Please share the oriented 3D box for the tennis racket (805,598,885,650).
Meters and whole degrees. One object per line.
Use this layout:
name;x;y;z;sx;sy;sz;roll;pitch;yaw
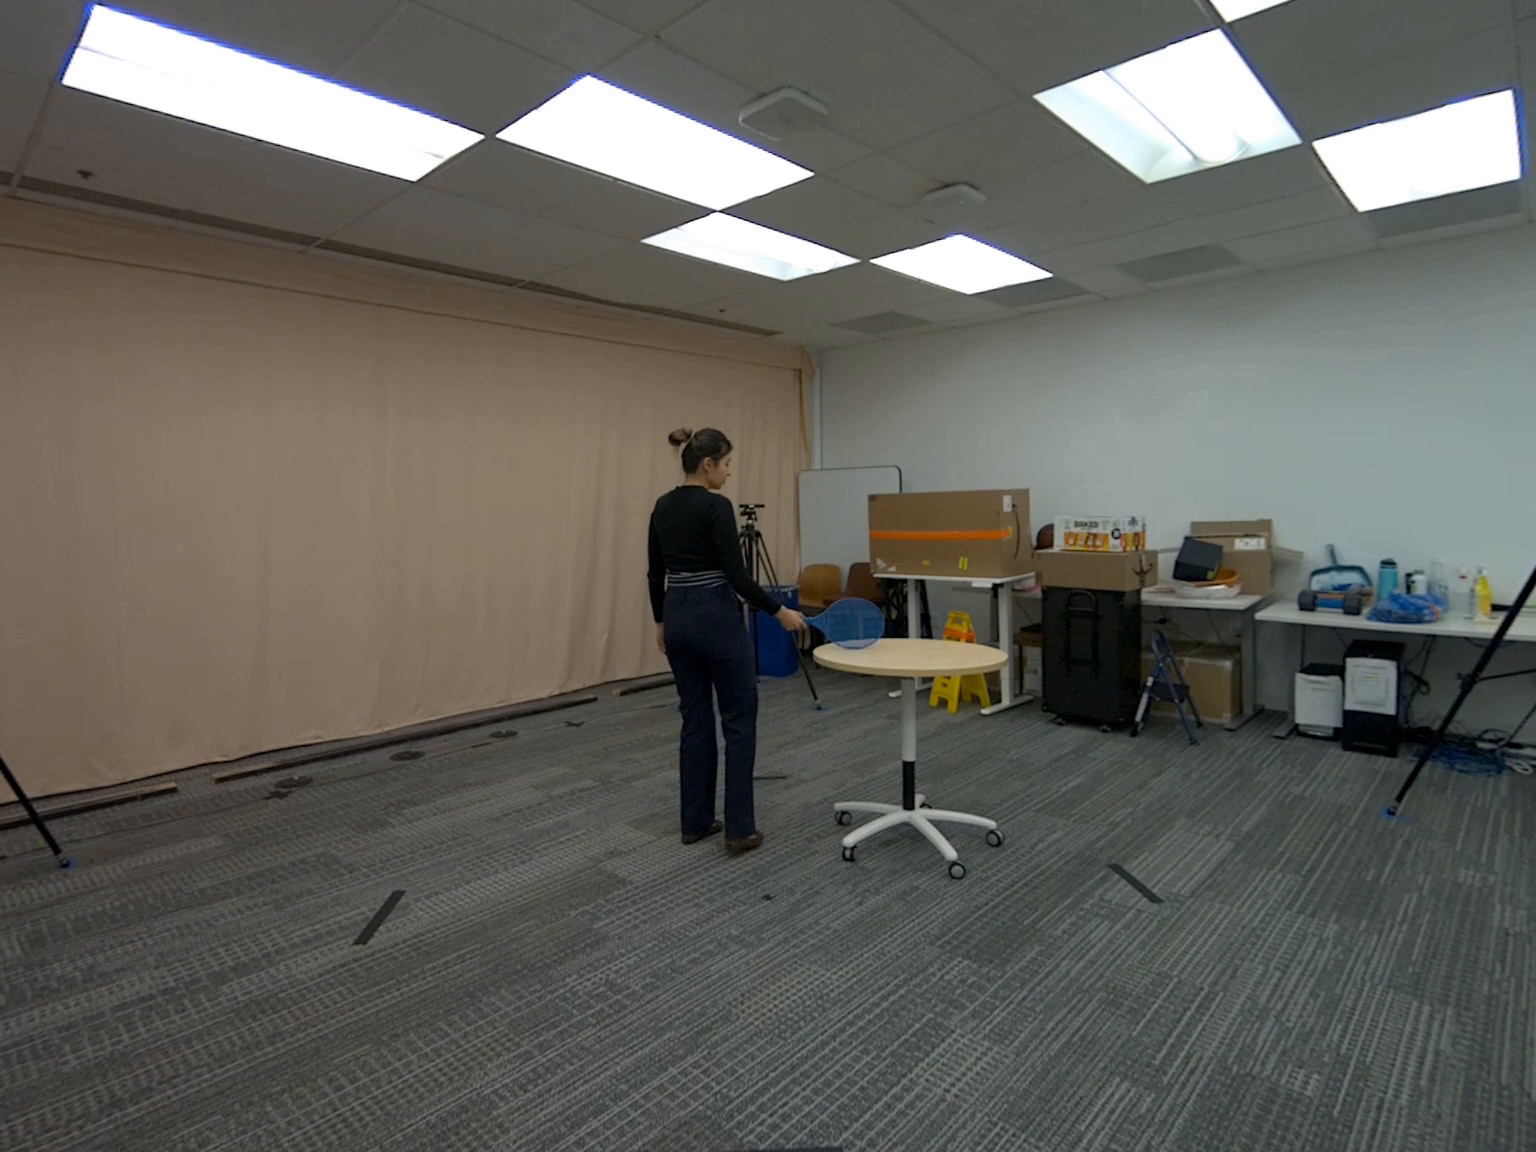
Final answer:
tennis racket;0.279;0.195;3.474;0.431;0.214;0.032;4;0;-2
